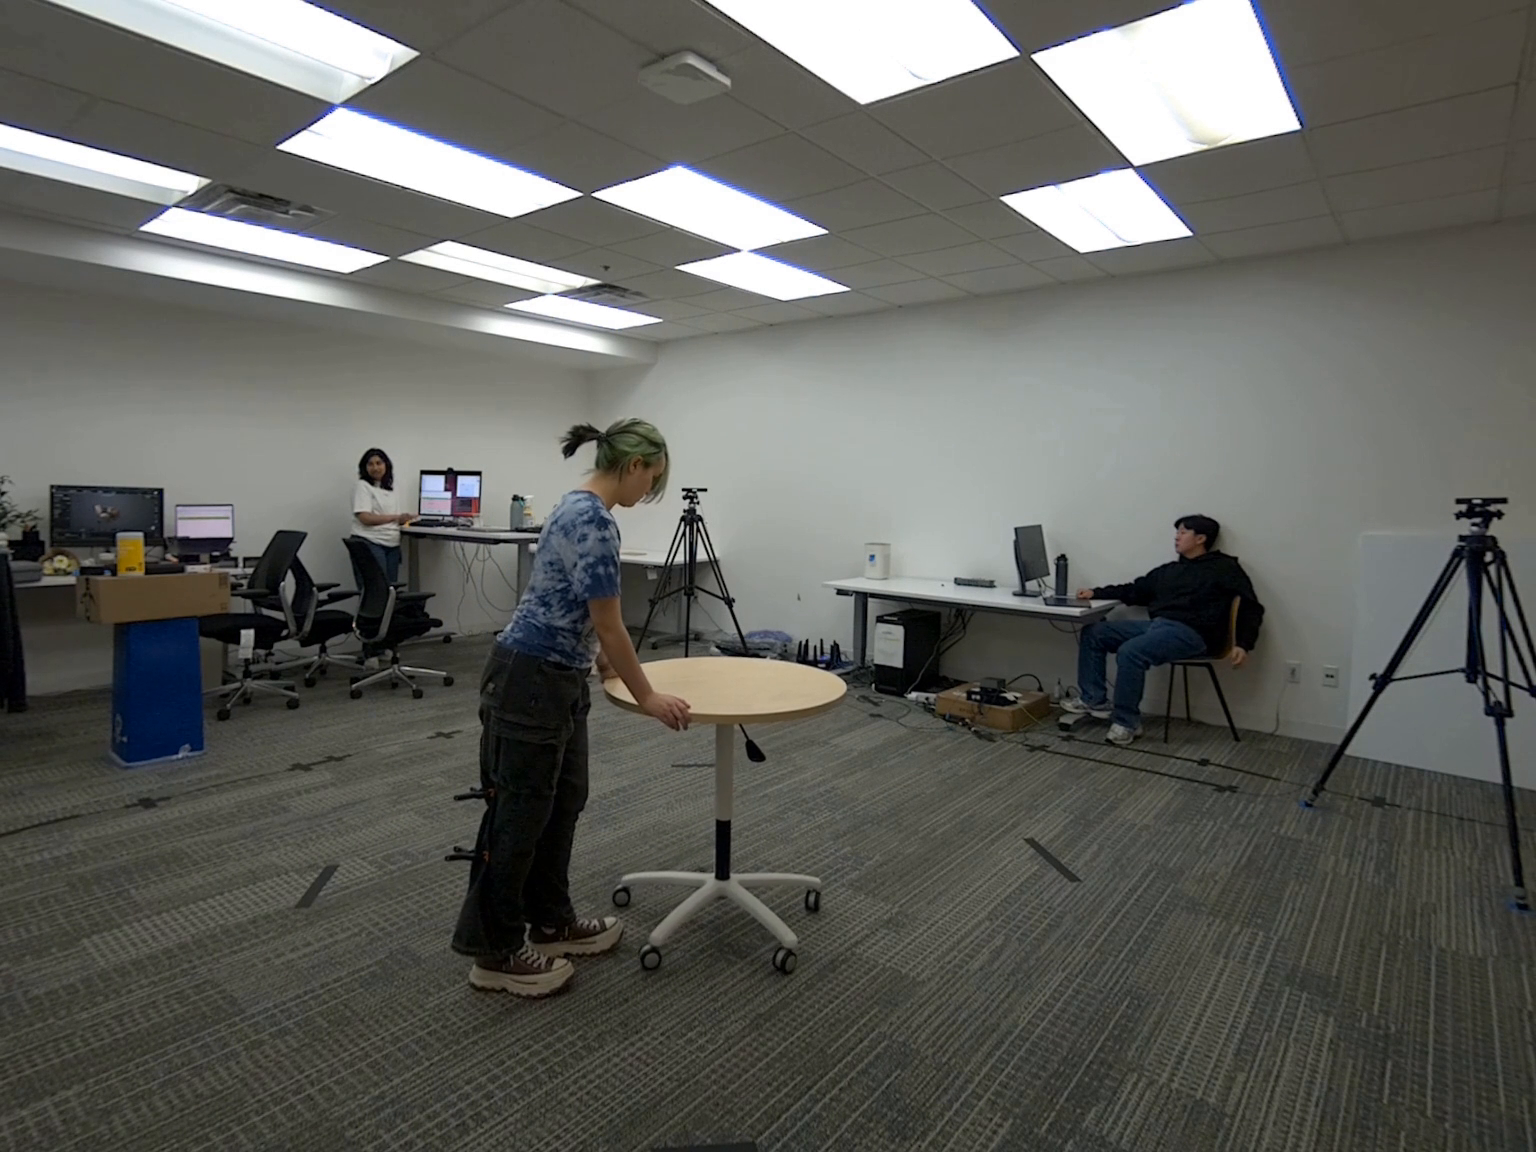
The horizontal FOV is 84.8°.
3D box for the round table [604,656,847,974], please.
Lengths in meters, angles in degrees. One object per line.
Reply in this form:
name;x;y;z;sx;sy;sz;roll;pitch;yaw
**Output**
round table;-0.150;0.725;2.720;0.763;0.791;0.768;1;5;-2
